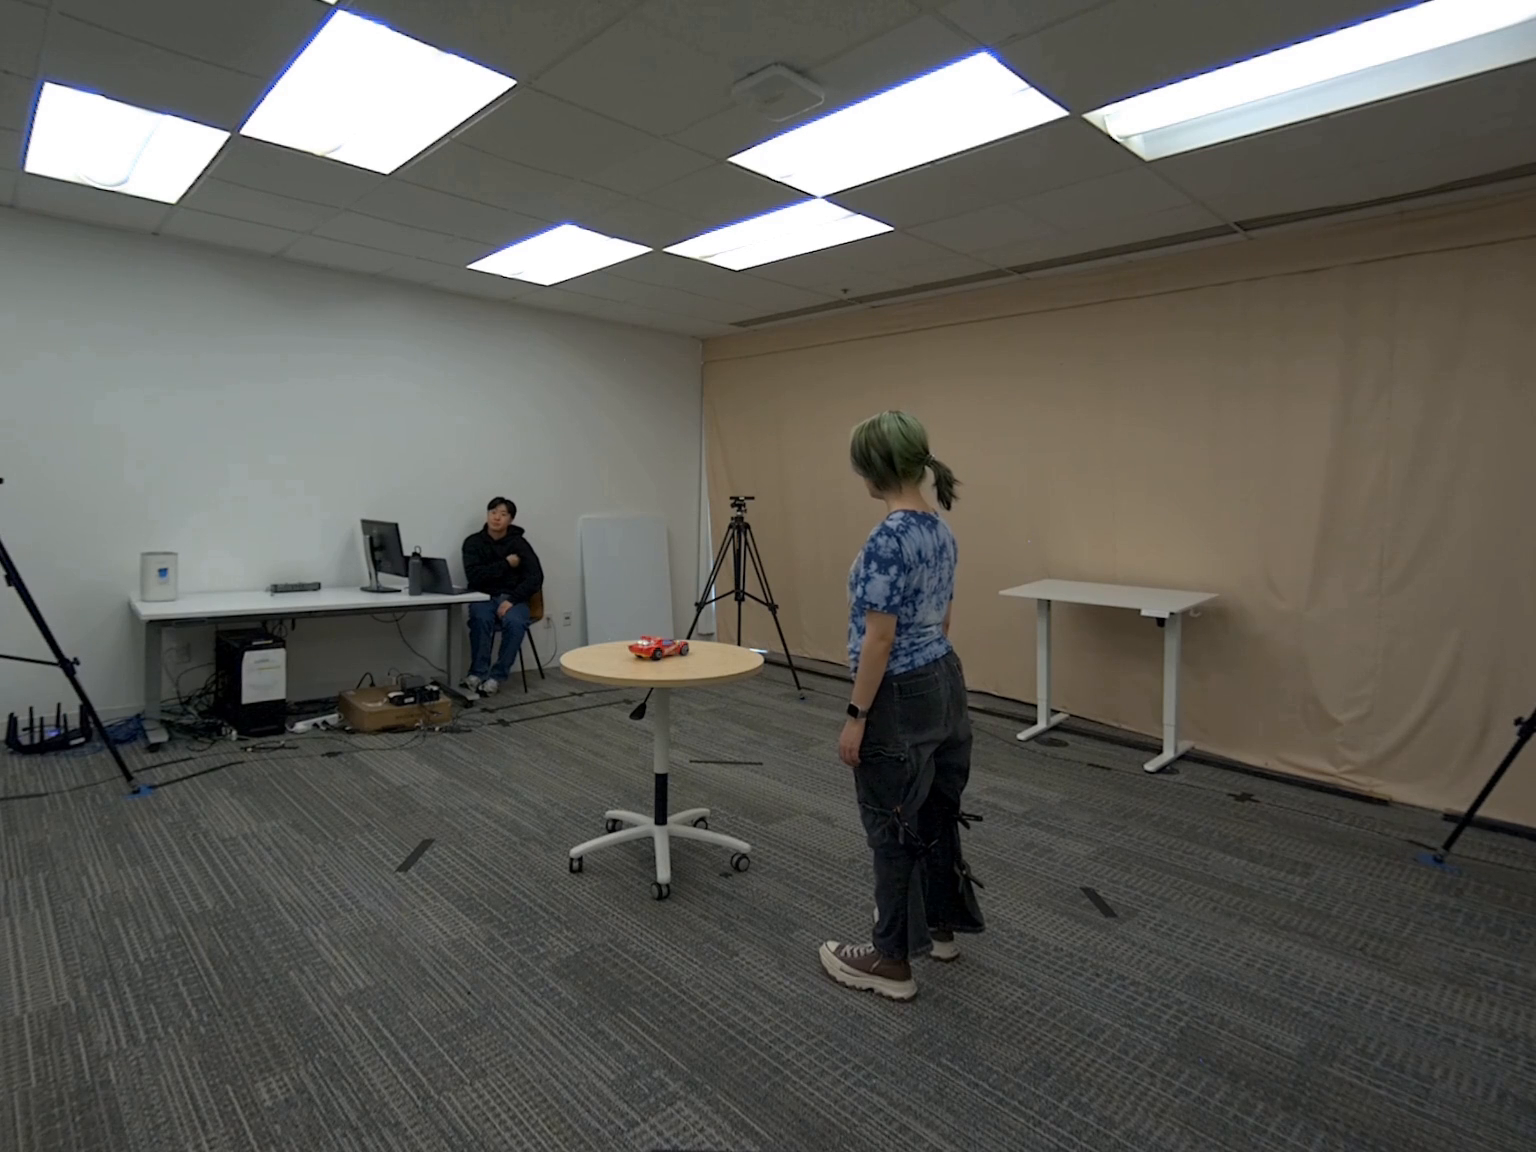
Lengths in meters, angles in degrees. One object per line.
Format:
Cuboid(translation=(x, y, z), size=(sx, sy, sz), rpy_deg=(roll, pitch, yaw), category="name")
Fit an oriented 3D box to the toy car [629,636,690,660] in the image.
Cuboid(translation=(-0.429, 0.276, 3.186), size=(0.133, 0.083, 0.247), rpy_deg=(5, -4, 40), category="toy car")
